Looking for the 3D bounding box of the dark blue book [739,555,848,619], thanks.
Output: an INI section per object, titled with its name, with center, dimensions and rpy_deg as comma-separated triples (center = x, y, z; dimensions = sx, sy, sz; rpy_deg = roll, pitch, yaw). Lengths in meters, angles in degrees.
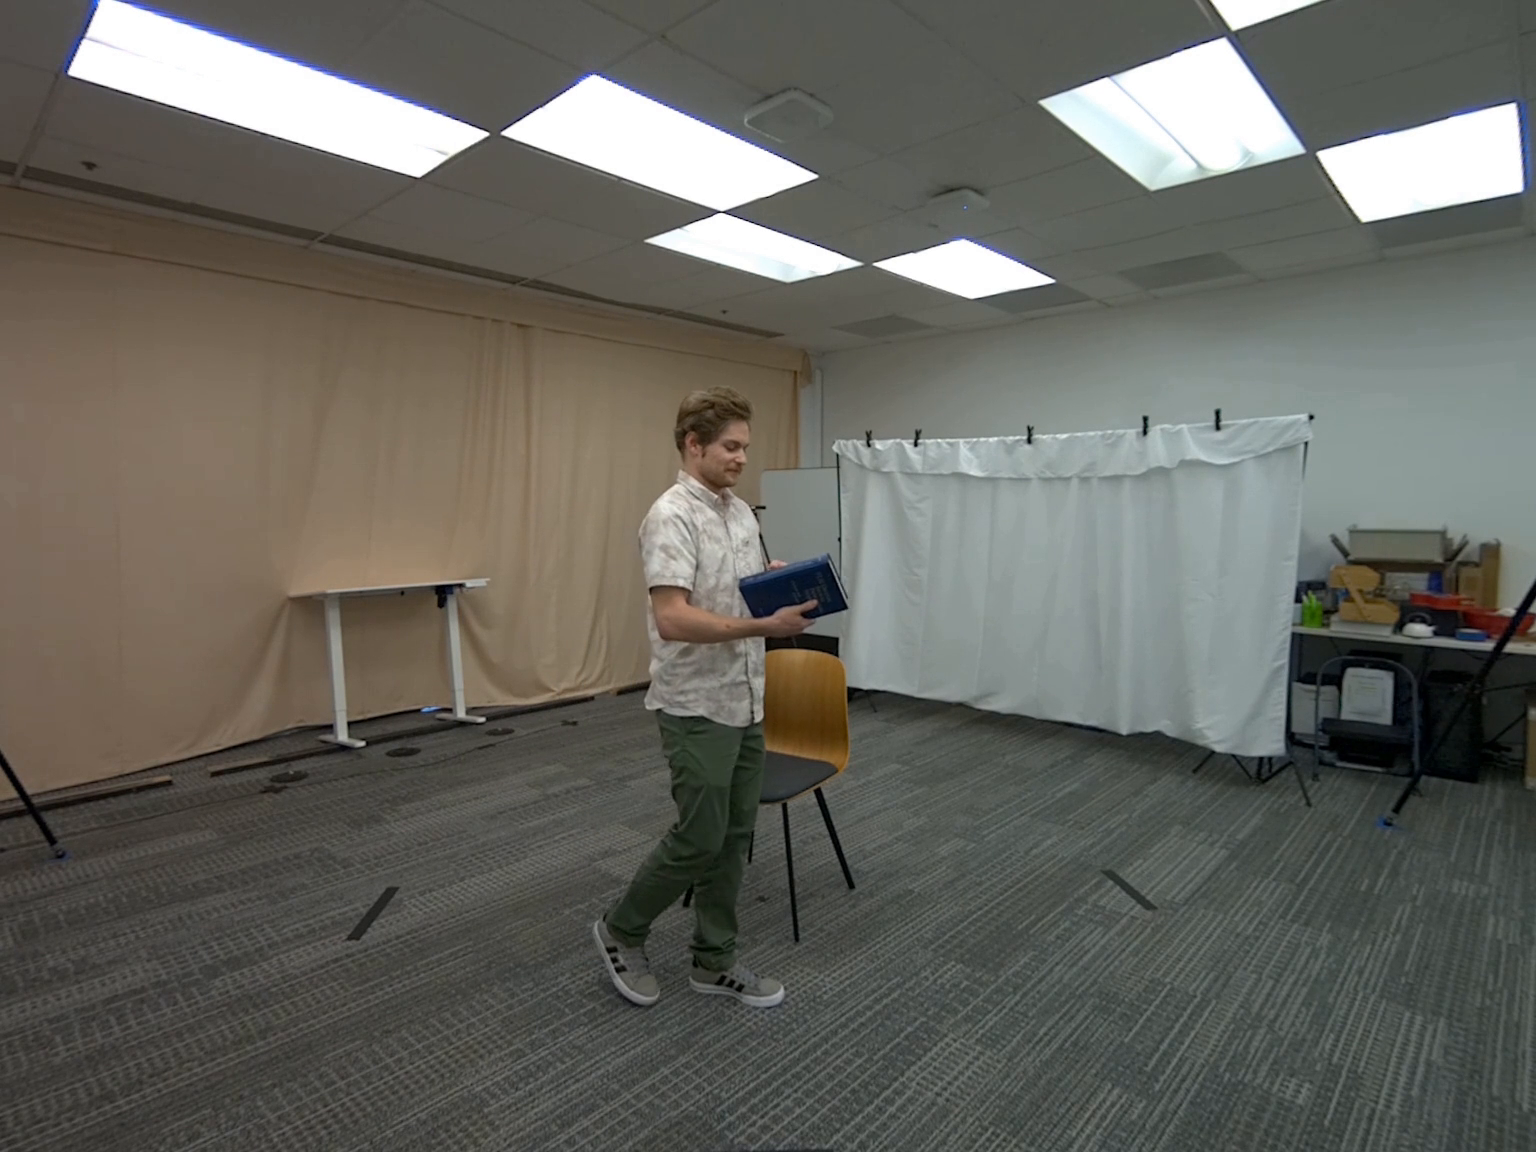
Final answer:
[dark blue book]
center = 0.071, 0.047, 2.170
dimensions = 0.248, 0.159, 0.046
rpy_deg = -15, 31, 16
